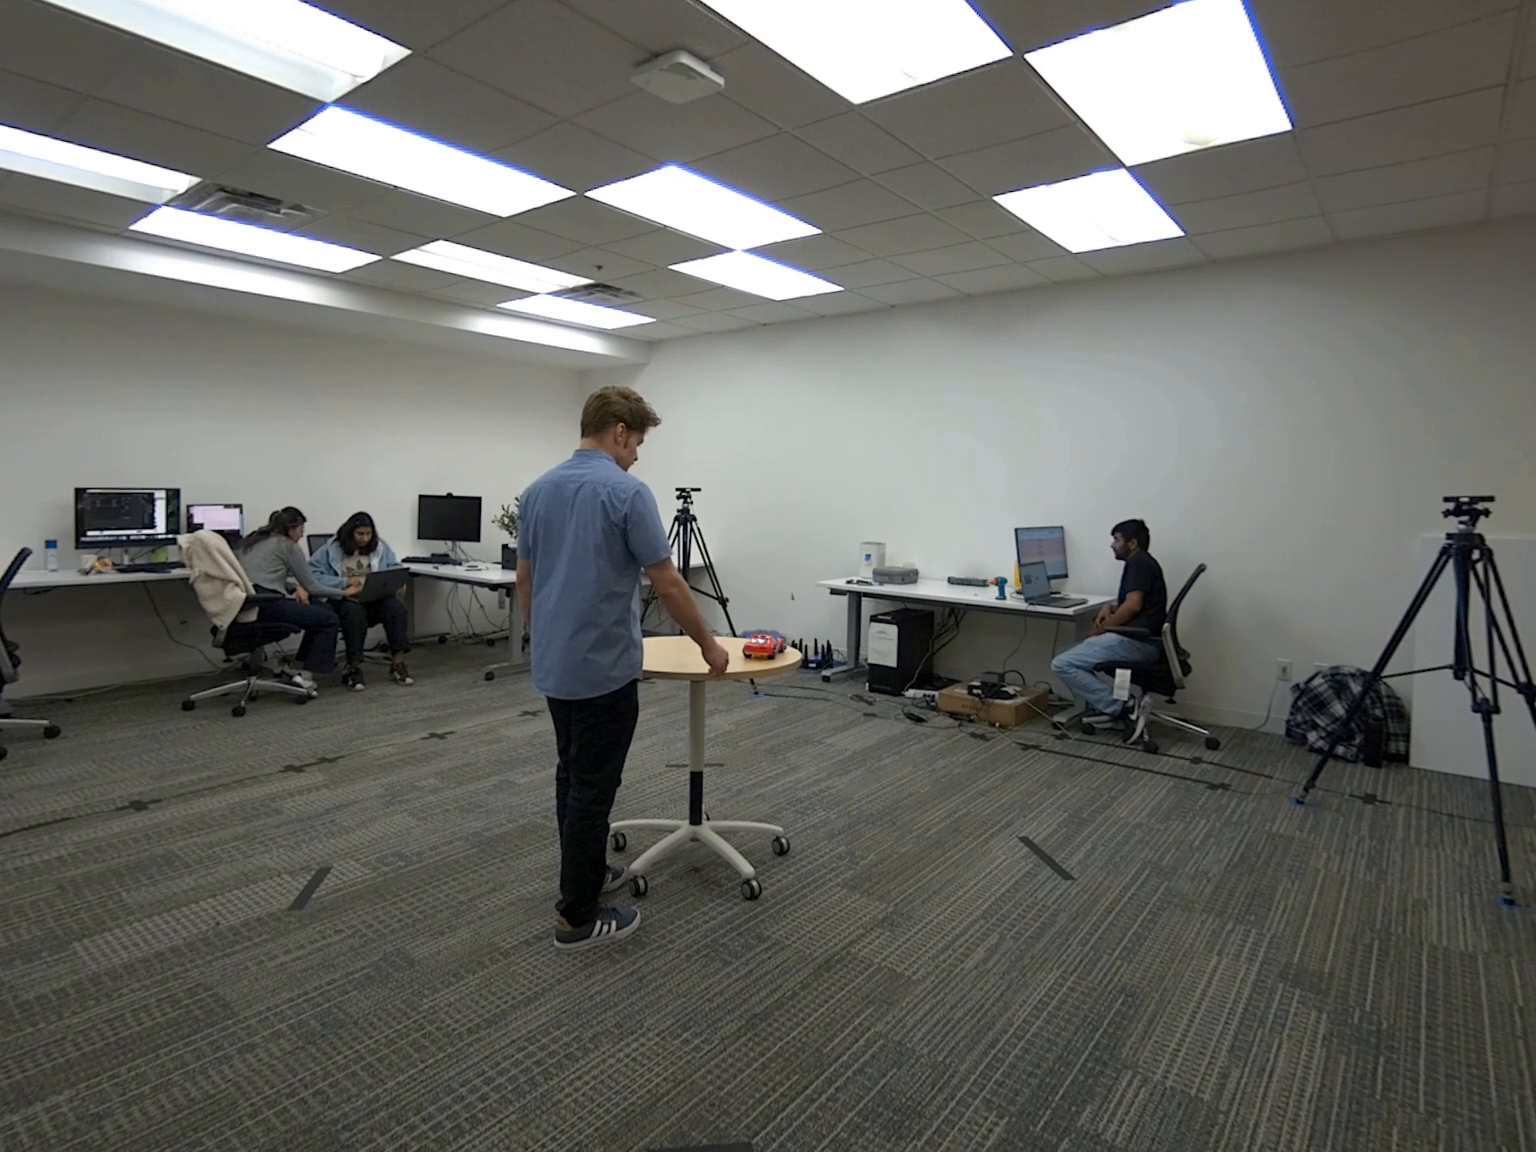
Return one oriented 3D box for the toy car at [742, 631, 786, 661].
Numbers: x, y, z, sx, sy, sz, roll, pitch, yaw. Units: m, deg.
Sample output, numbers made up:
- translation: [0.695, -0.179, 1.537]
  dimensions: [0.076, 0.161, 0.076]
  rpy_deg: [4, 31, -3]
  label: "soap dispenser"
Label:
- translation: [-0.028, 0.257, 3.096]
  dimensions: [0.132, 0.084, 0.248]
  rpy_deg: [2, -6, 15]
  label: "toy car"
